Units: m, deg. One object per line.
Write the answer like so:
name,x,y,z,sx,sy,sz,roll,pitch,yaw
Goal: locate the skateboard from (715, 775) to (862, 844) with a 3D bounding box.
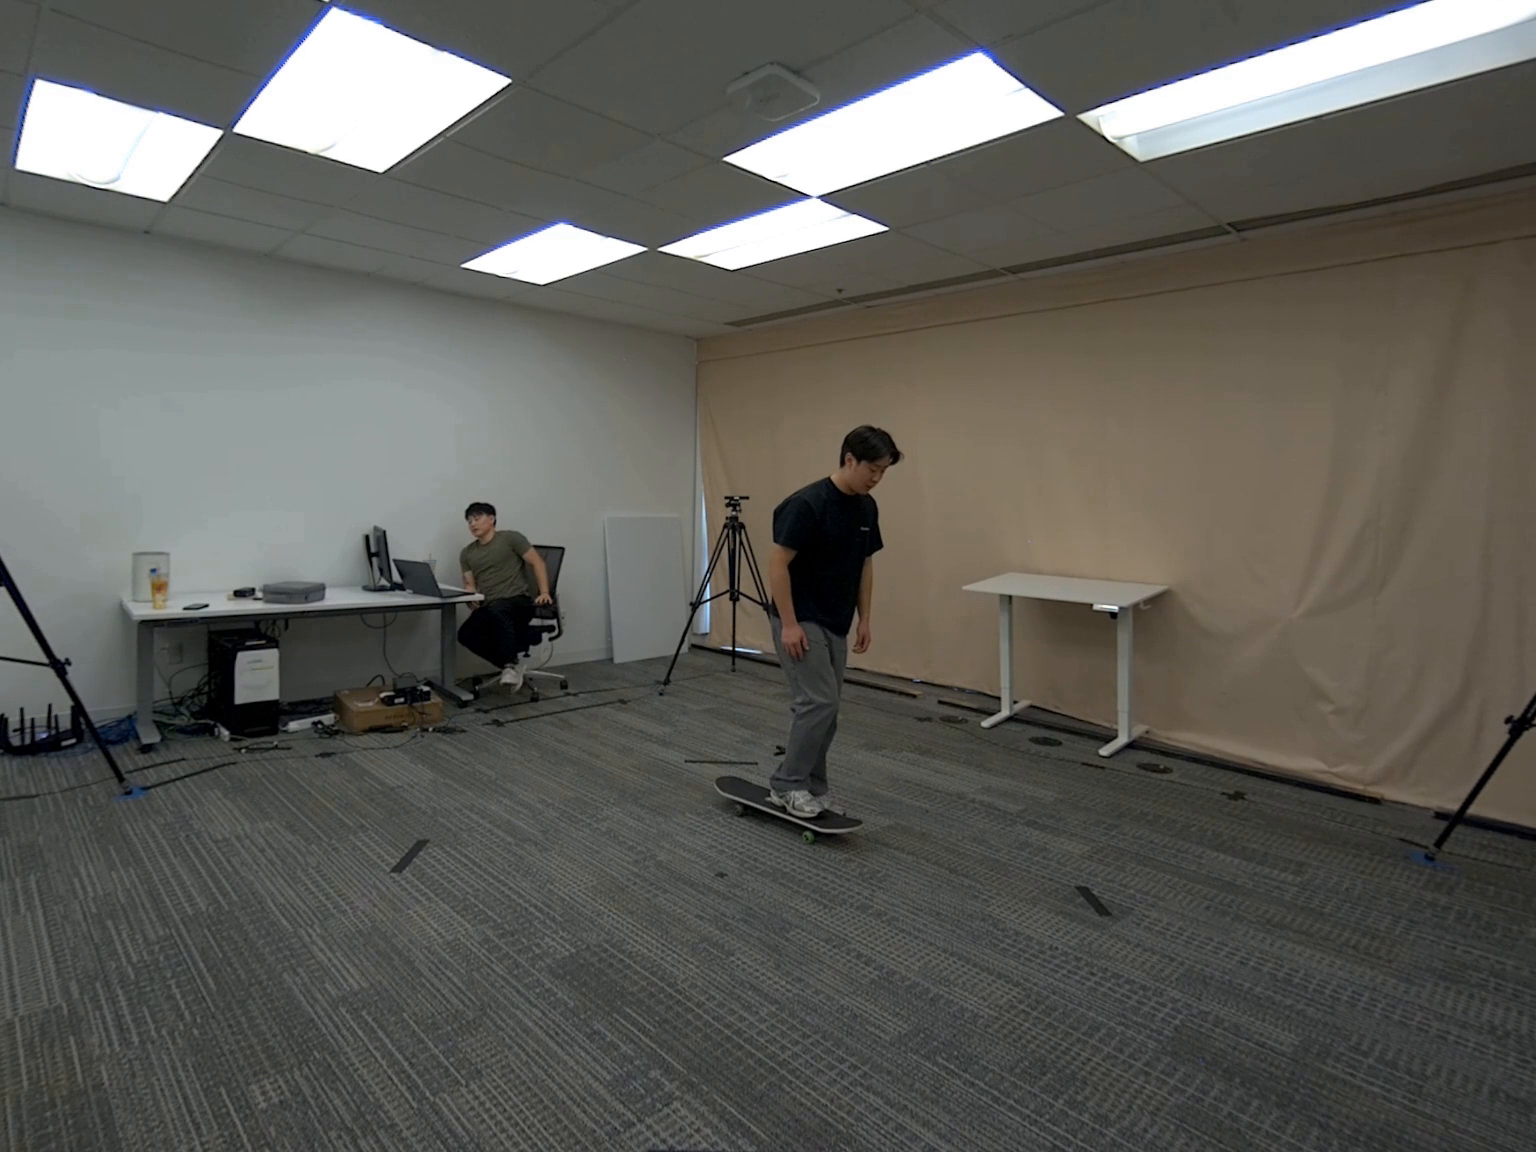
skateboard,0.062,1.019,3.602,0.805,0.110,0.189,4,6,43
